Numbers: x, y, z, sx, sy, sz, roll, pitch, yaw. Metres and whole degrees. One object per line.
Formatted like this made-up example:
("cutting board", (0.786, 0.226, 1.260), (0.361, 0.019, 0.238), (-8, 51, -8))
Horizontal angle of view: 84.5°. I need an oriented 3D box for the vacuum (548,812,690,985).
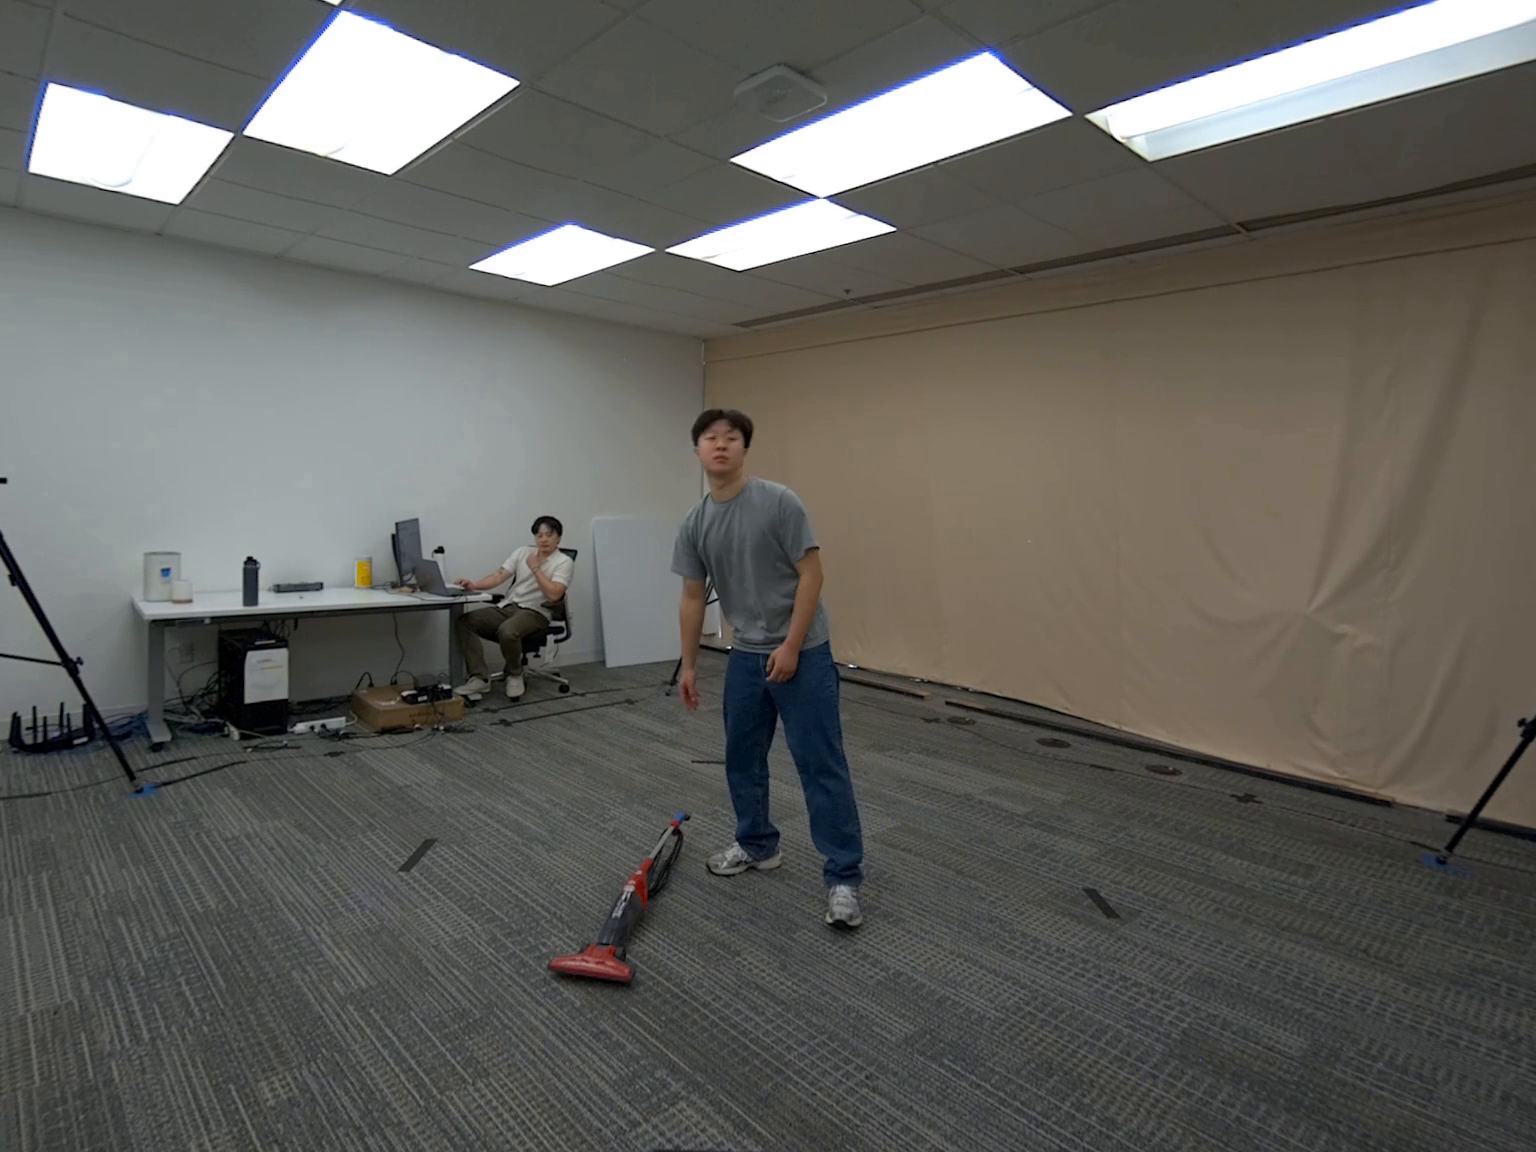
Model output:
("vacuum", (-0.418, 1.054, 2.982), (0.254, 0.143, 1.045), (-7, 6, 9))
